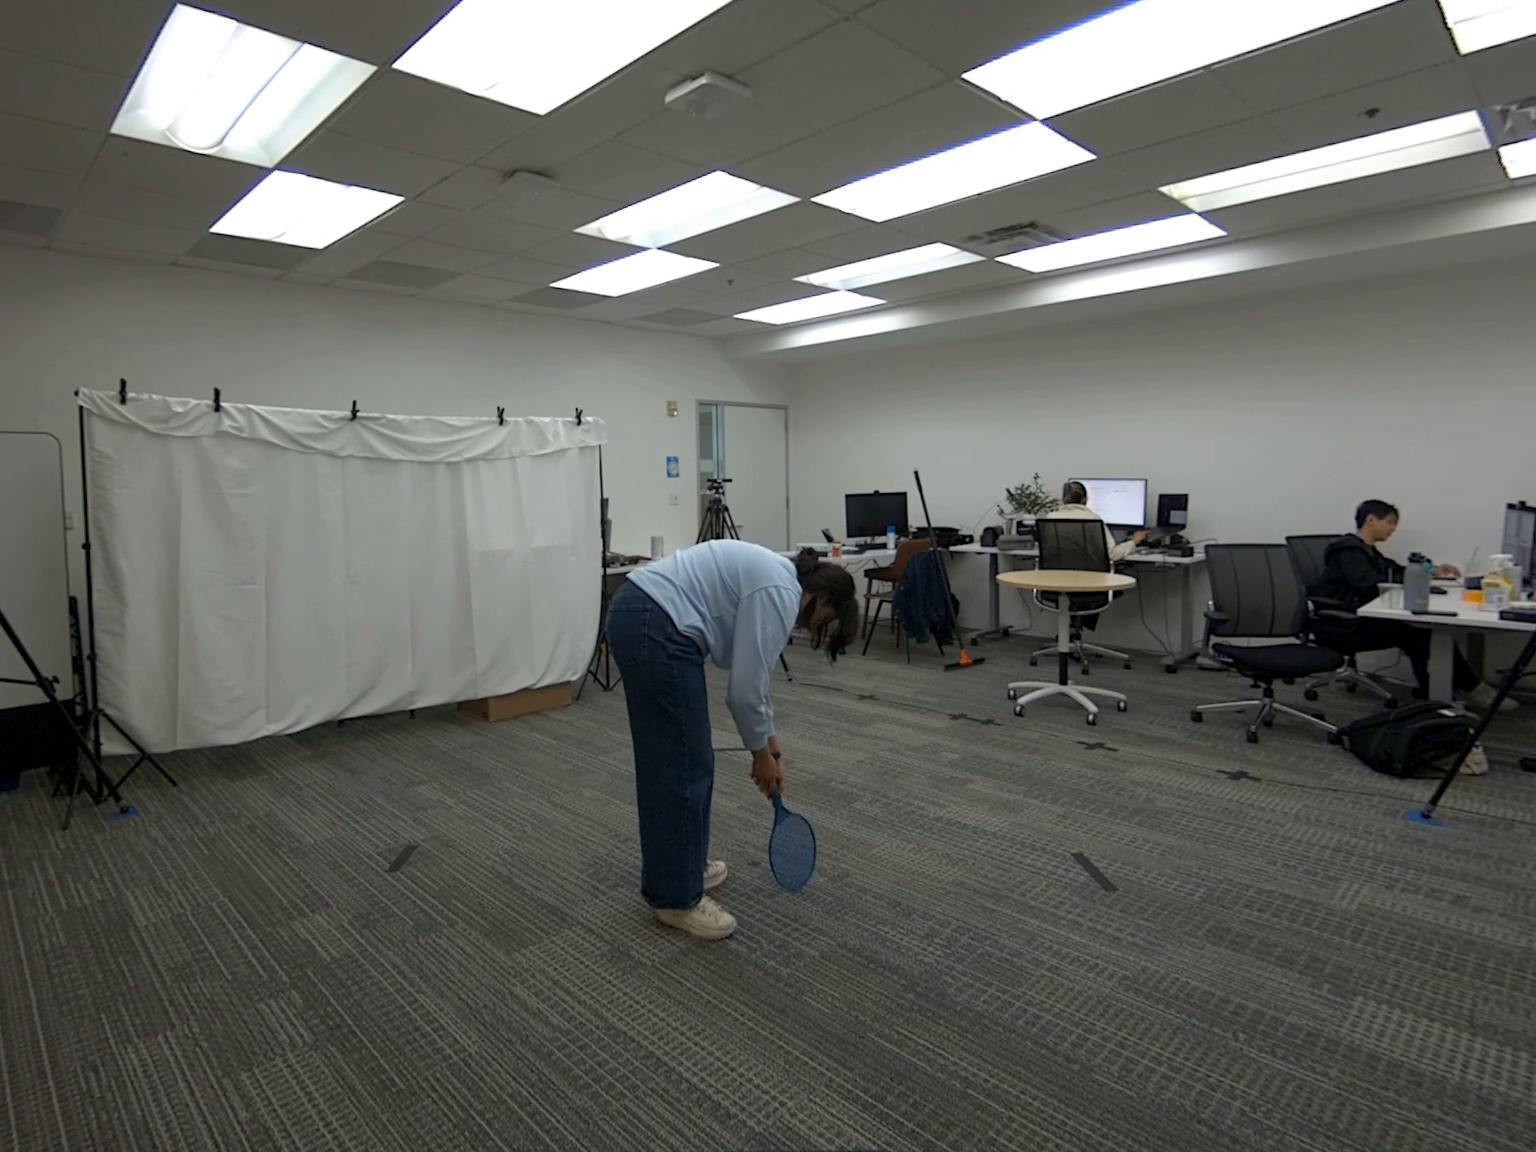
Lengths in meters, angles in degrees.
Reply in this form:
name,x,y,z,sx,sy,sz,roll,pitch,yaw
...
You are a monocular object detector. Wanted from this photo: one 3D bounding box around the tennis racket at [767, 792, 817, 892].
name,x,y,z,sx,sy,sz,roll,pitch,yaw
tennis racket,0.058,0.860,2.878,0.211,0.425,0.032,-32,19,-37
